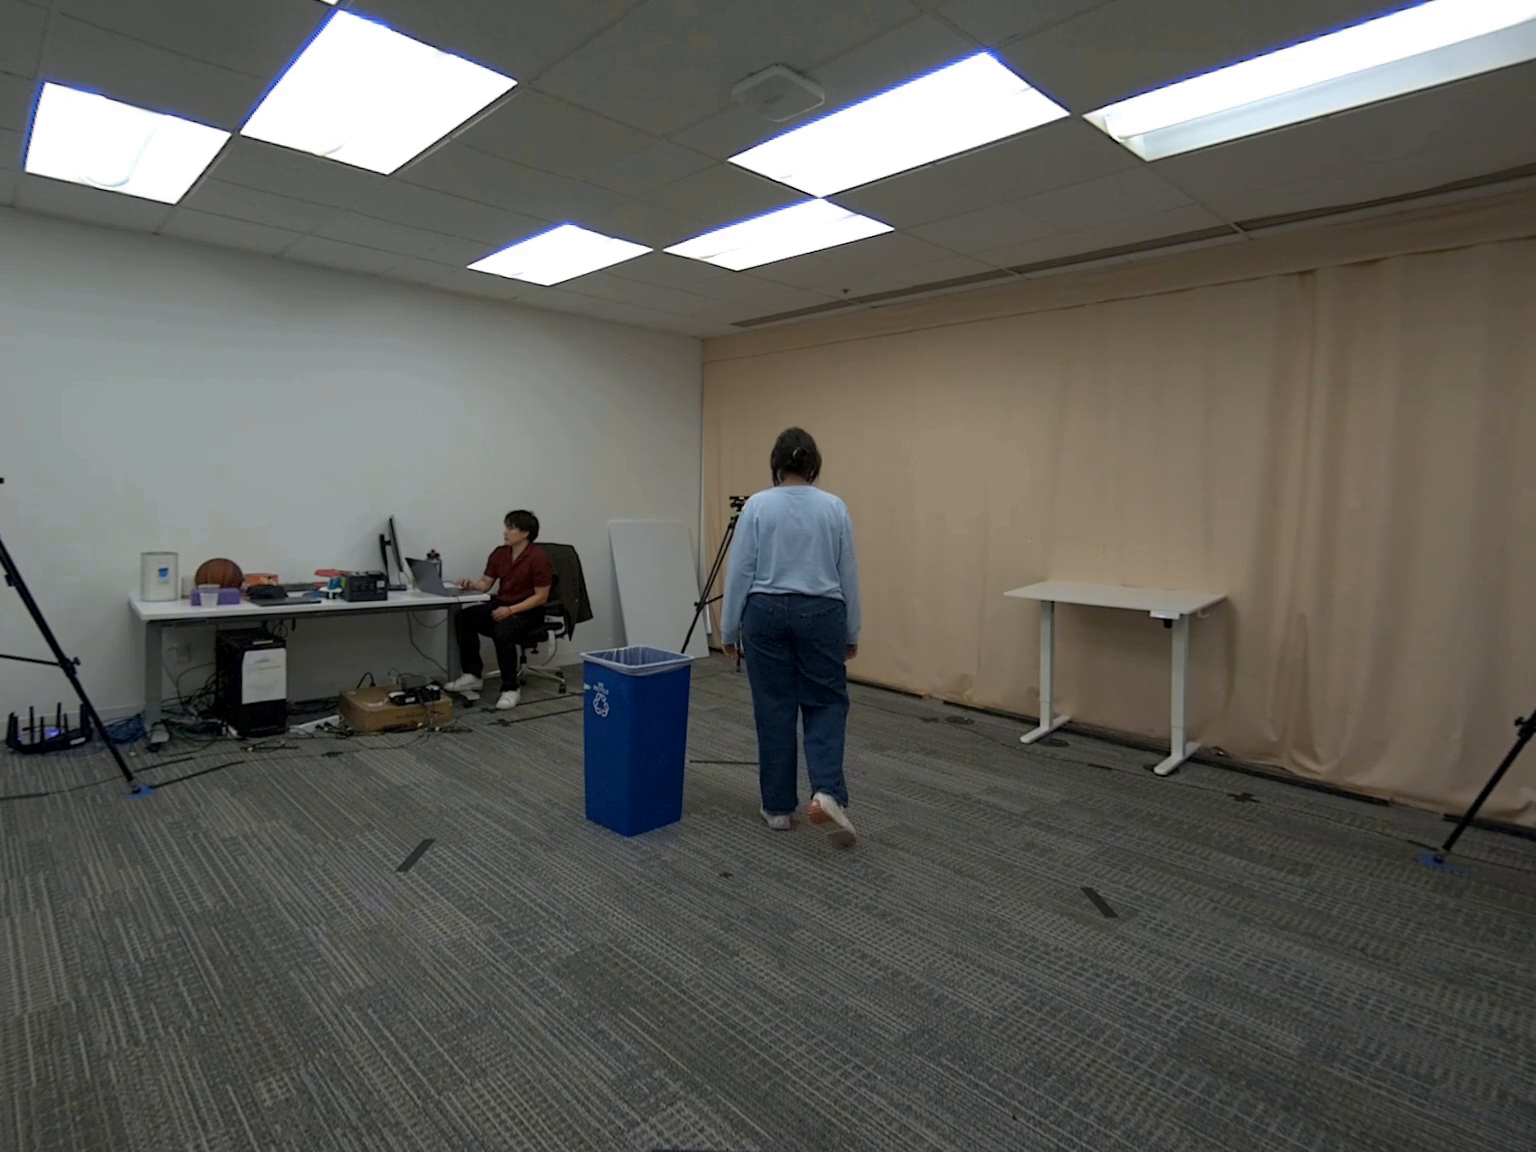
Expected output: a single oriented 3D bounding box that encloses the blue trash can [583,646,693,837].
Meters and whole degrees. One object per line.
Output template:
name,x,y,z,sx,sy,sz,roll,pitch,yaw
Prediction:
blue trash can,-0.578,0.694,3.604,0.388,0.712,0.365,5,5,42
